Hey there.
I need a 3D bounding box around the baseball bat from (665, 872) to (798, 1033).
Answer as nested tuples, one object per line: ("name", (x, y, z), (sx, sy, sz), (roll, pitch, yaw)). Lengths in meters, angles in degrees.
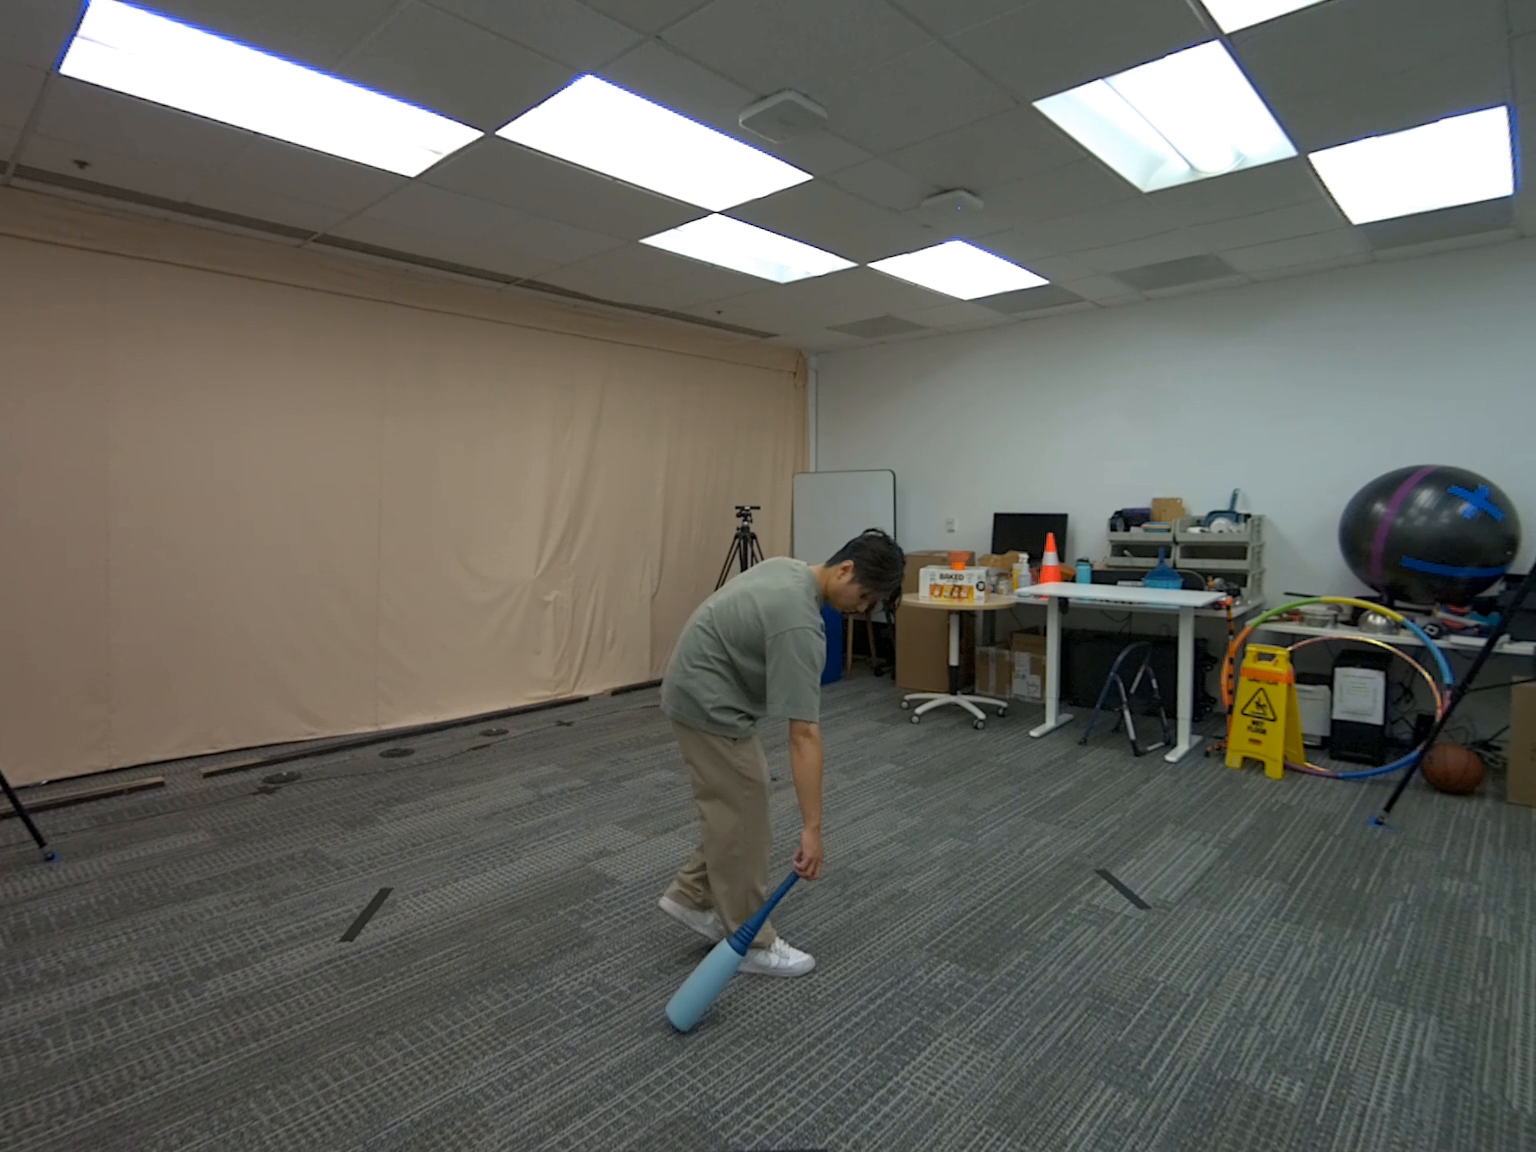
("baseball bat", (-0.075, 0.980, 2.262), (0.089, 0.542, 0.089), (41, -3, 1))
